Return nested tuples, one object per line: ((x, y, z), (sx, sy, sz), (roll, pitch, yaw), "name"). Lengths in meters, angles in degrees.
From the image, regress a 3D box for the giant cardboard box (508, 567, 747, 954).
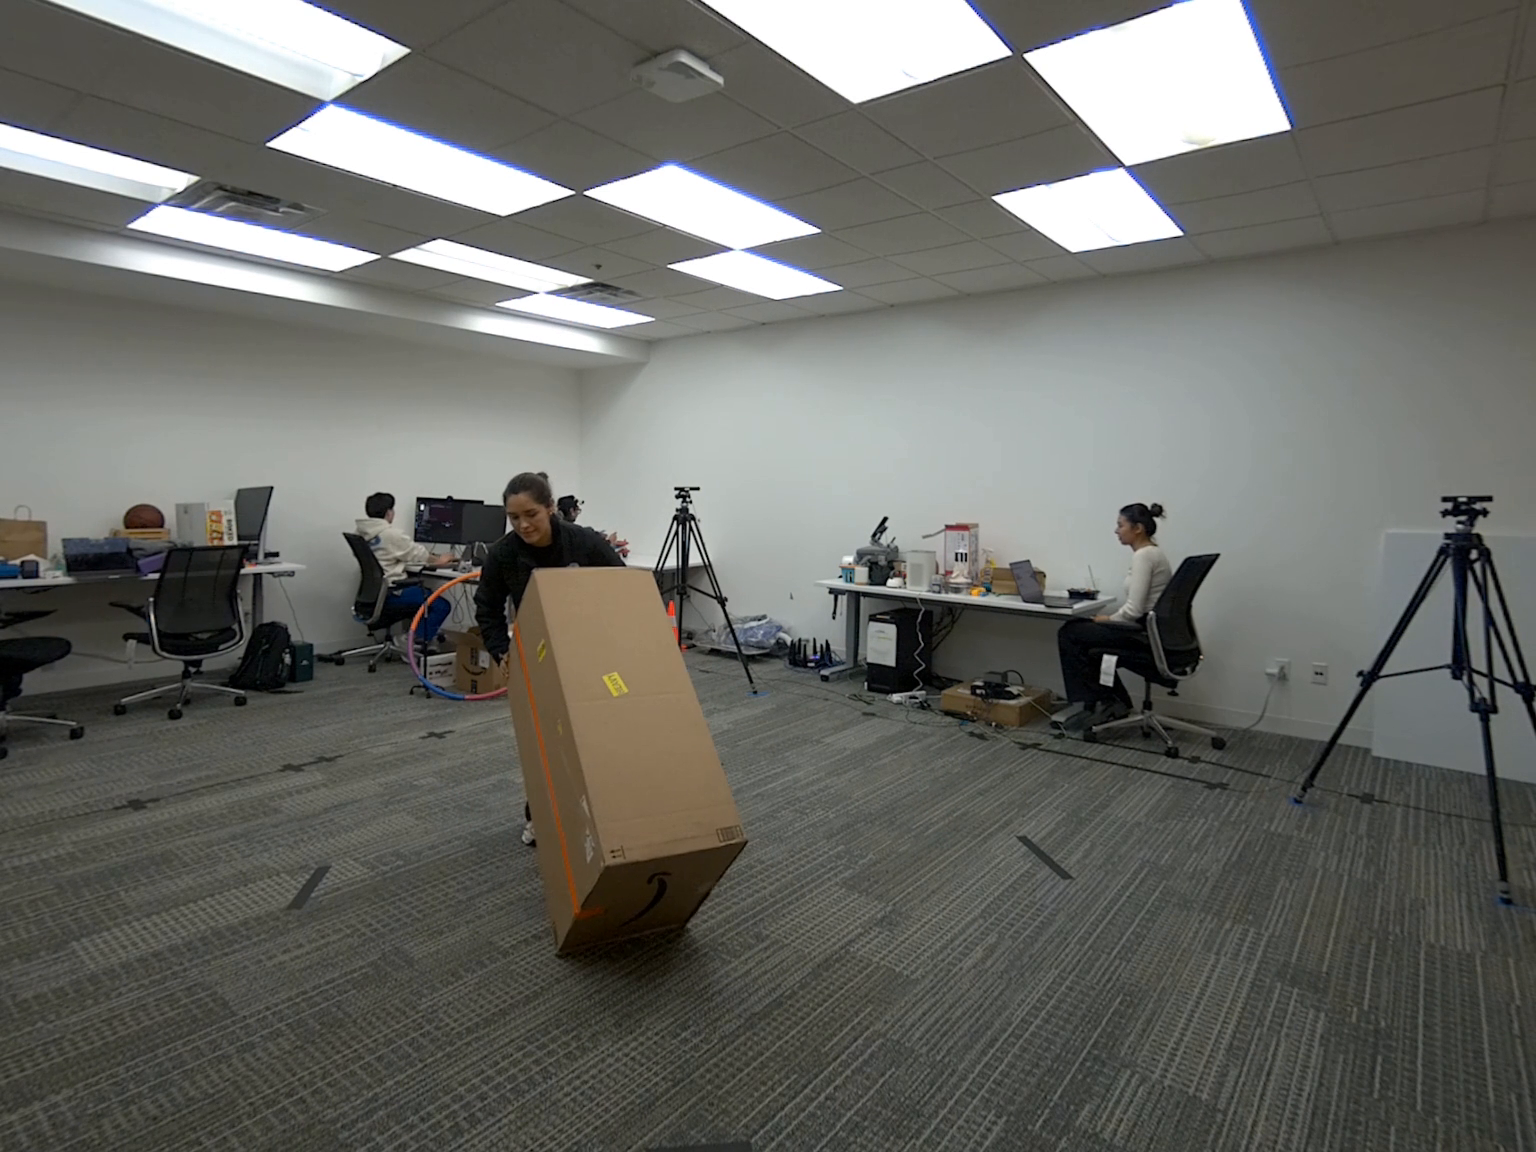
((-0.507, 0.540, 2.759), (0.435, 0.576, 1.067), (-1, 47, -28), "giant cardboard box")
